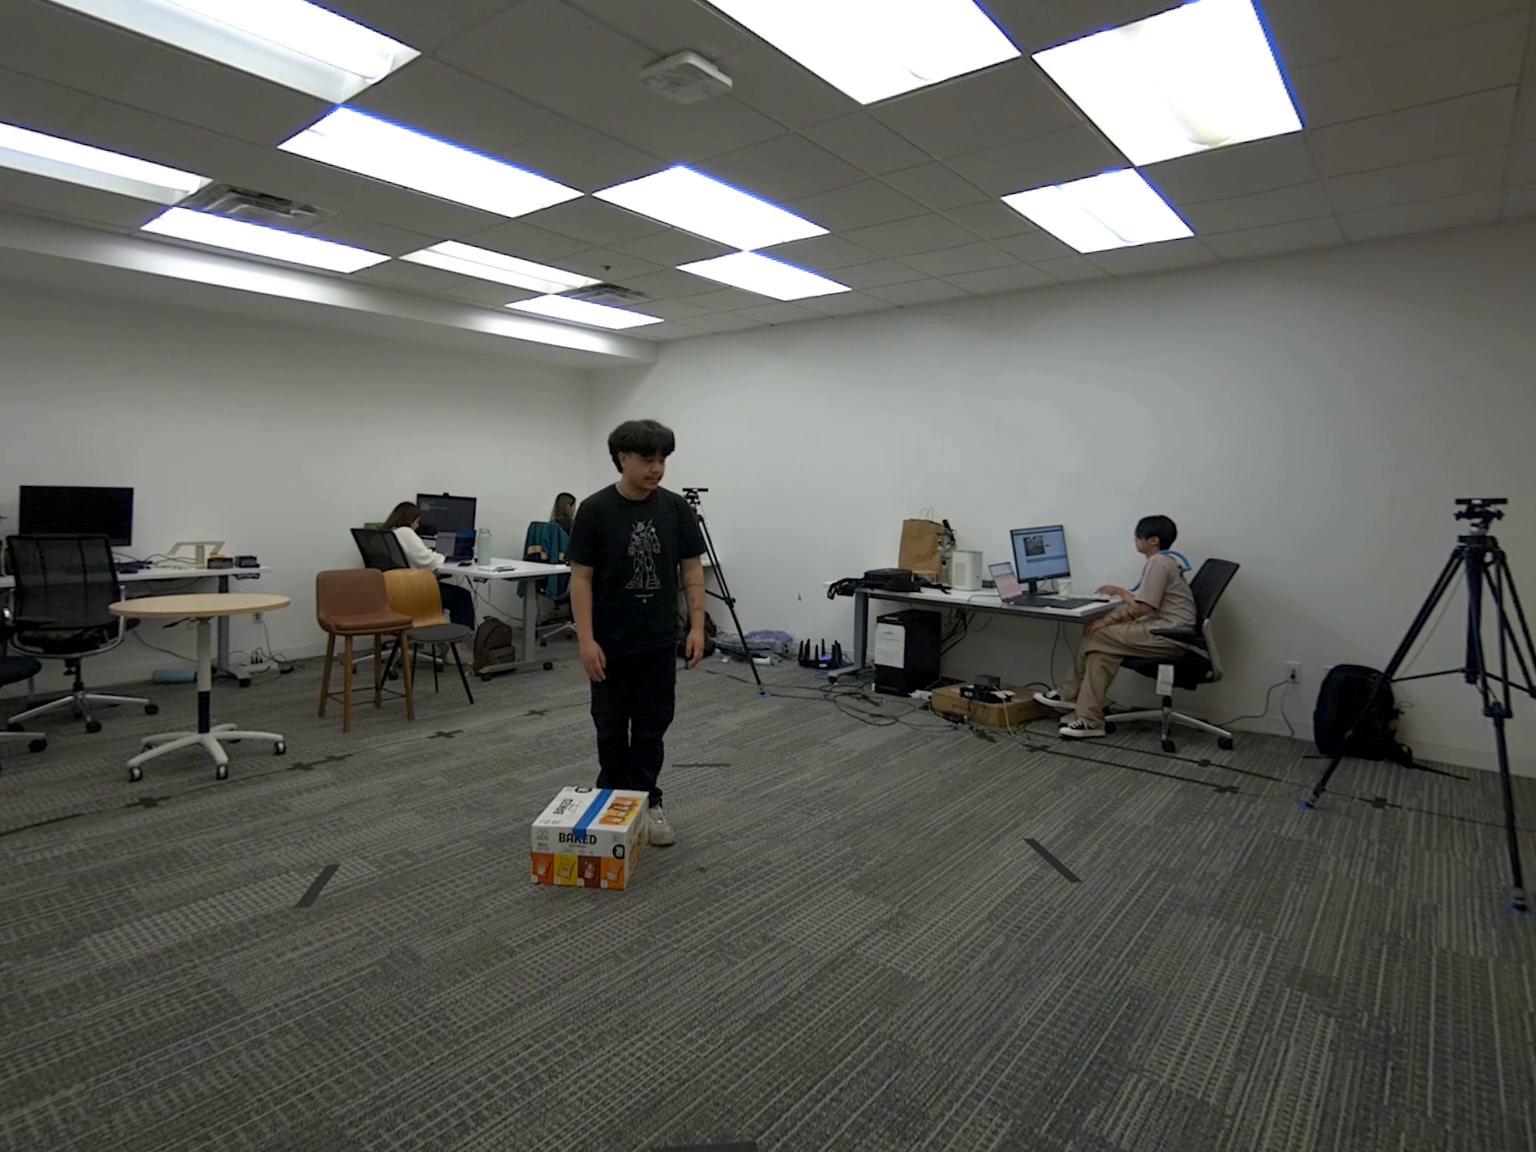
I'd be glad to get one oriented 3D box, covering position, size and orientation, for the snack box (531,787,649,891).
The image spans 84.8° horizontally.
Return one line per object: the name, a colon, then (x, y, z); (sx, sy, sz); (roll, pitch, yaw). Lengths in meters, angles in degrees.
snack box: (-0.661, 0.955, 3.145); (0.343, 0.205, 0.404); (2, 5, 5)
